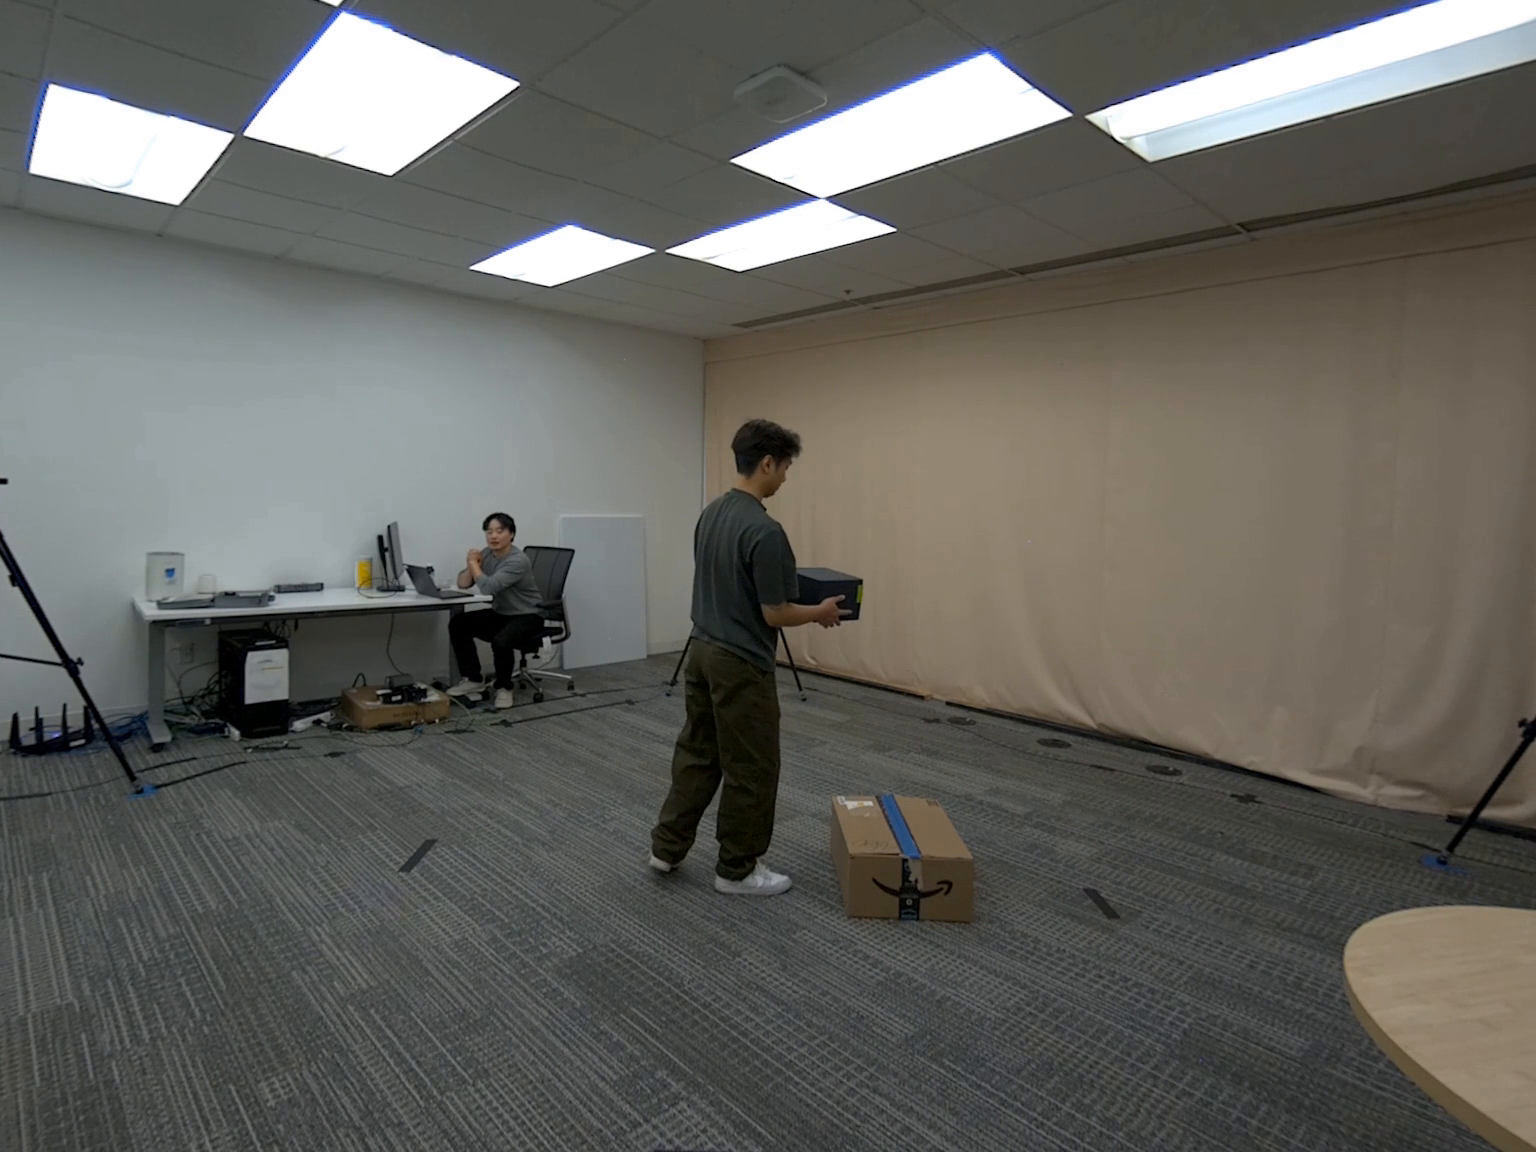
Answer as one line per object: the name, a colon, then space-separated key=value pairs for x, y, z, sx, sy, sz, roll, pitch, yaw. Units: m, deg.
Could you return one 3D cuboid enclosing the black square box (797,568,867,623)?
black square box: x=0.195 y=0.068 z=3.136 sx=0.212 sy=0.155 sz=0.234 roll=1 pitch=10 yaw=-36
